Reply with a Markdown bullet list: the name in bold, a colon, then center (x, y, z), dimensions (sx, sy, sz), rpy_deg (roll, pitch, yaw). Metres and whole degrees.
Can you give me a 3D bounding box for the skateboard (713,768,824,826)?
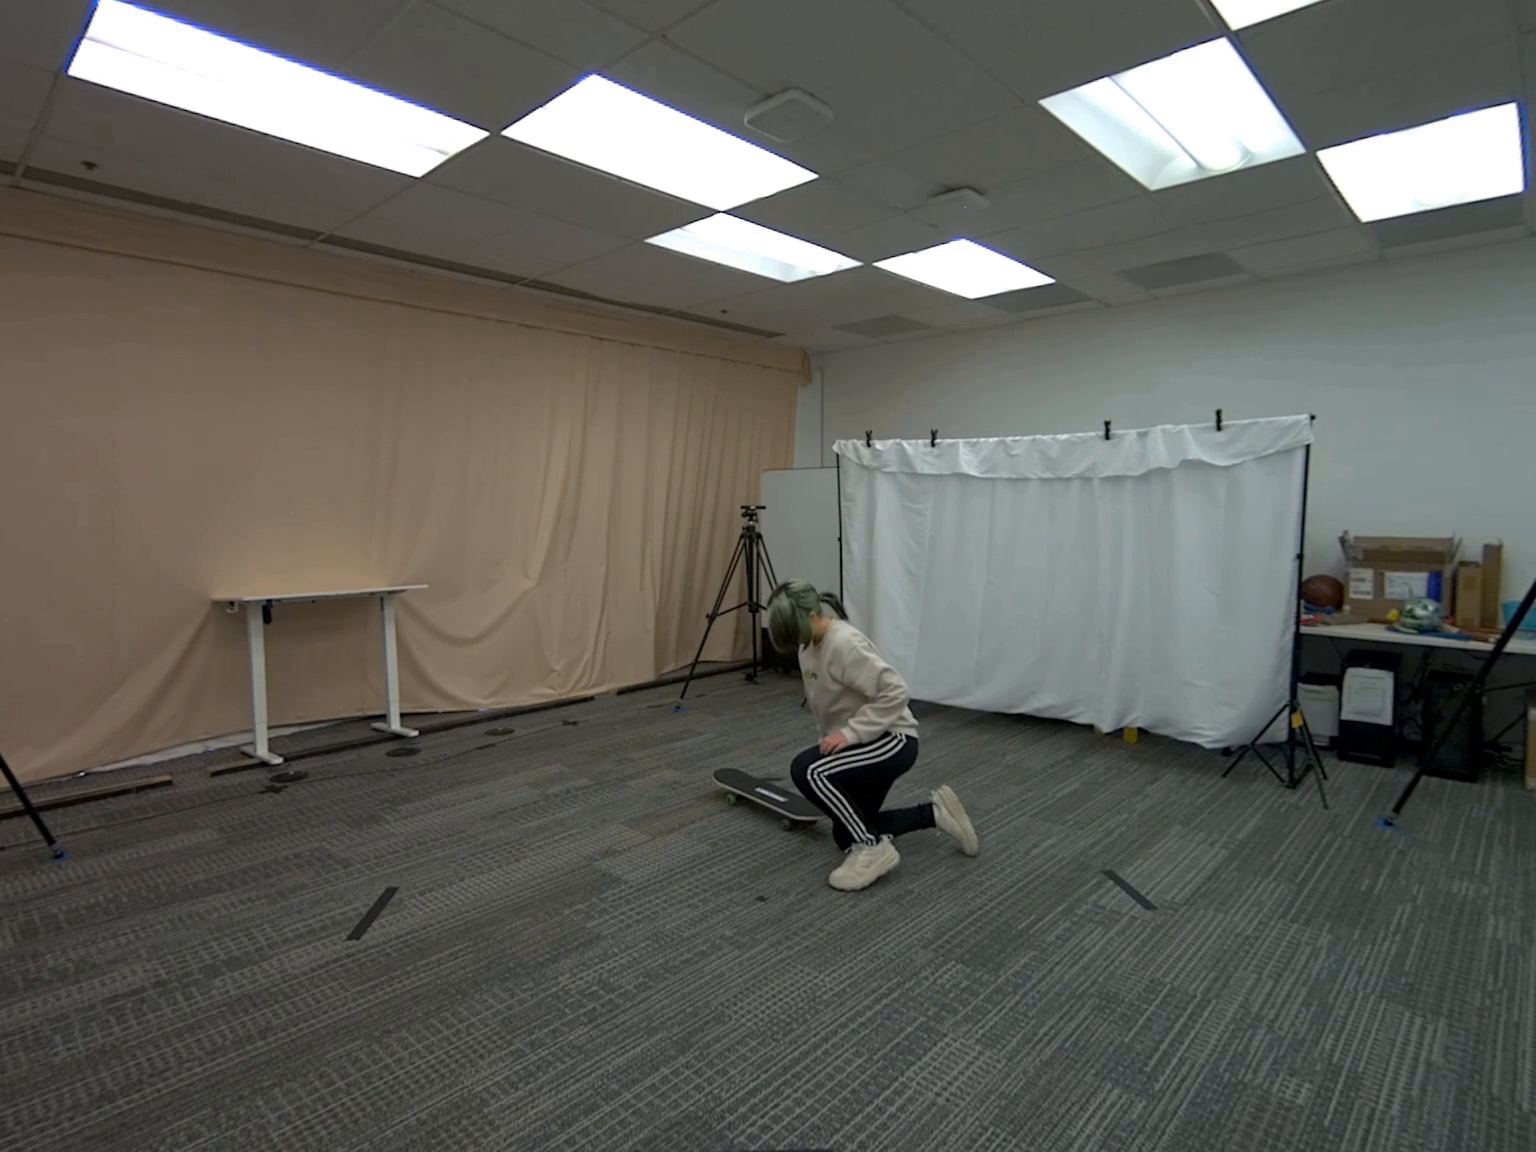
- **skateboard**: center (0.017, 1.022, 3.818), dimensions (0.188, 0.110, 0.811), rpy_deg (-2, 5, -37)
